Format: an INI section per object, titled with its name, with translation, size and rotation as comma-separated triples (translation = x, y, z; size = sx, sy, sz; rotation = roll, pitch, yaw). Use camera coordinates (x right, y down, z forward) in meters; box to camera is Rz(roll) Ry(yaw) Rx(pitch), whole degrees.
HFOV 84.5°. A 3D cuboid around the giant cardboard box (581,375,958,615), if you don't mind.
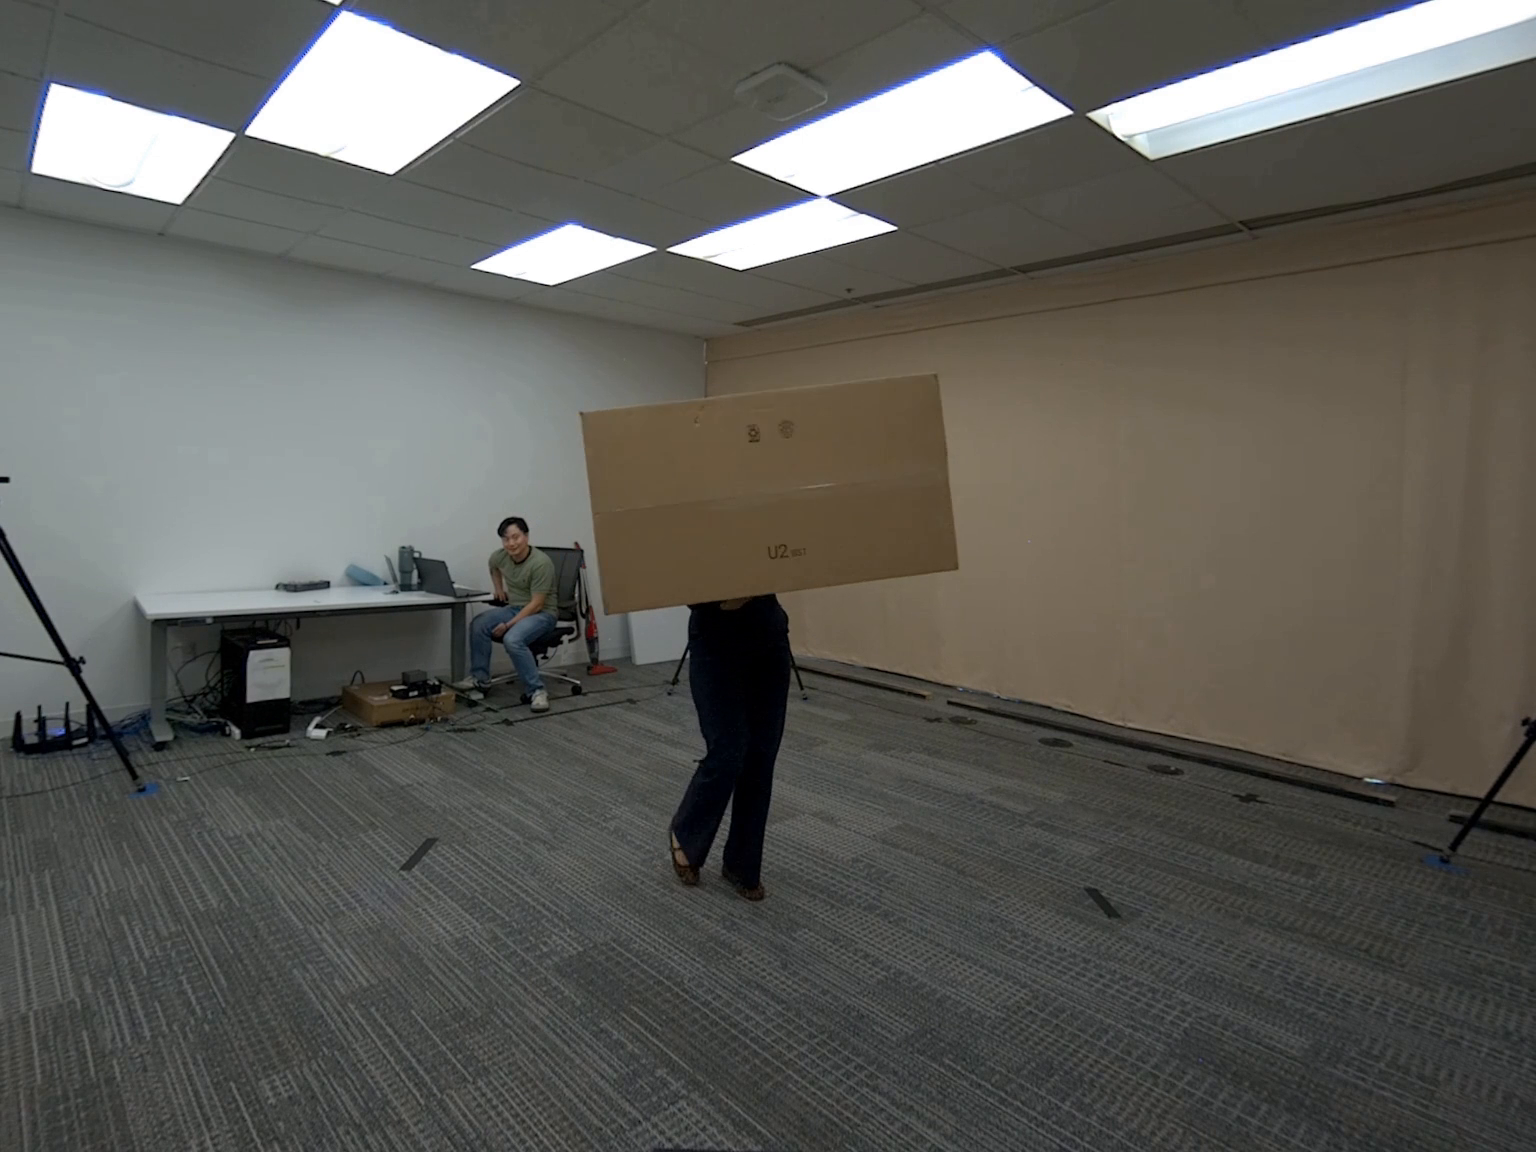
[giant cardboard box]
translation = -0.012, -0.246, 2.582
size = 1.022, 0.577, 0.428
rotation = -7, 1, -5
